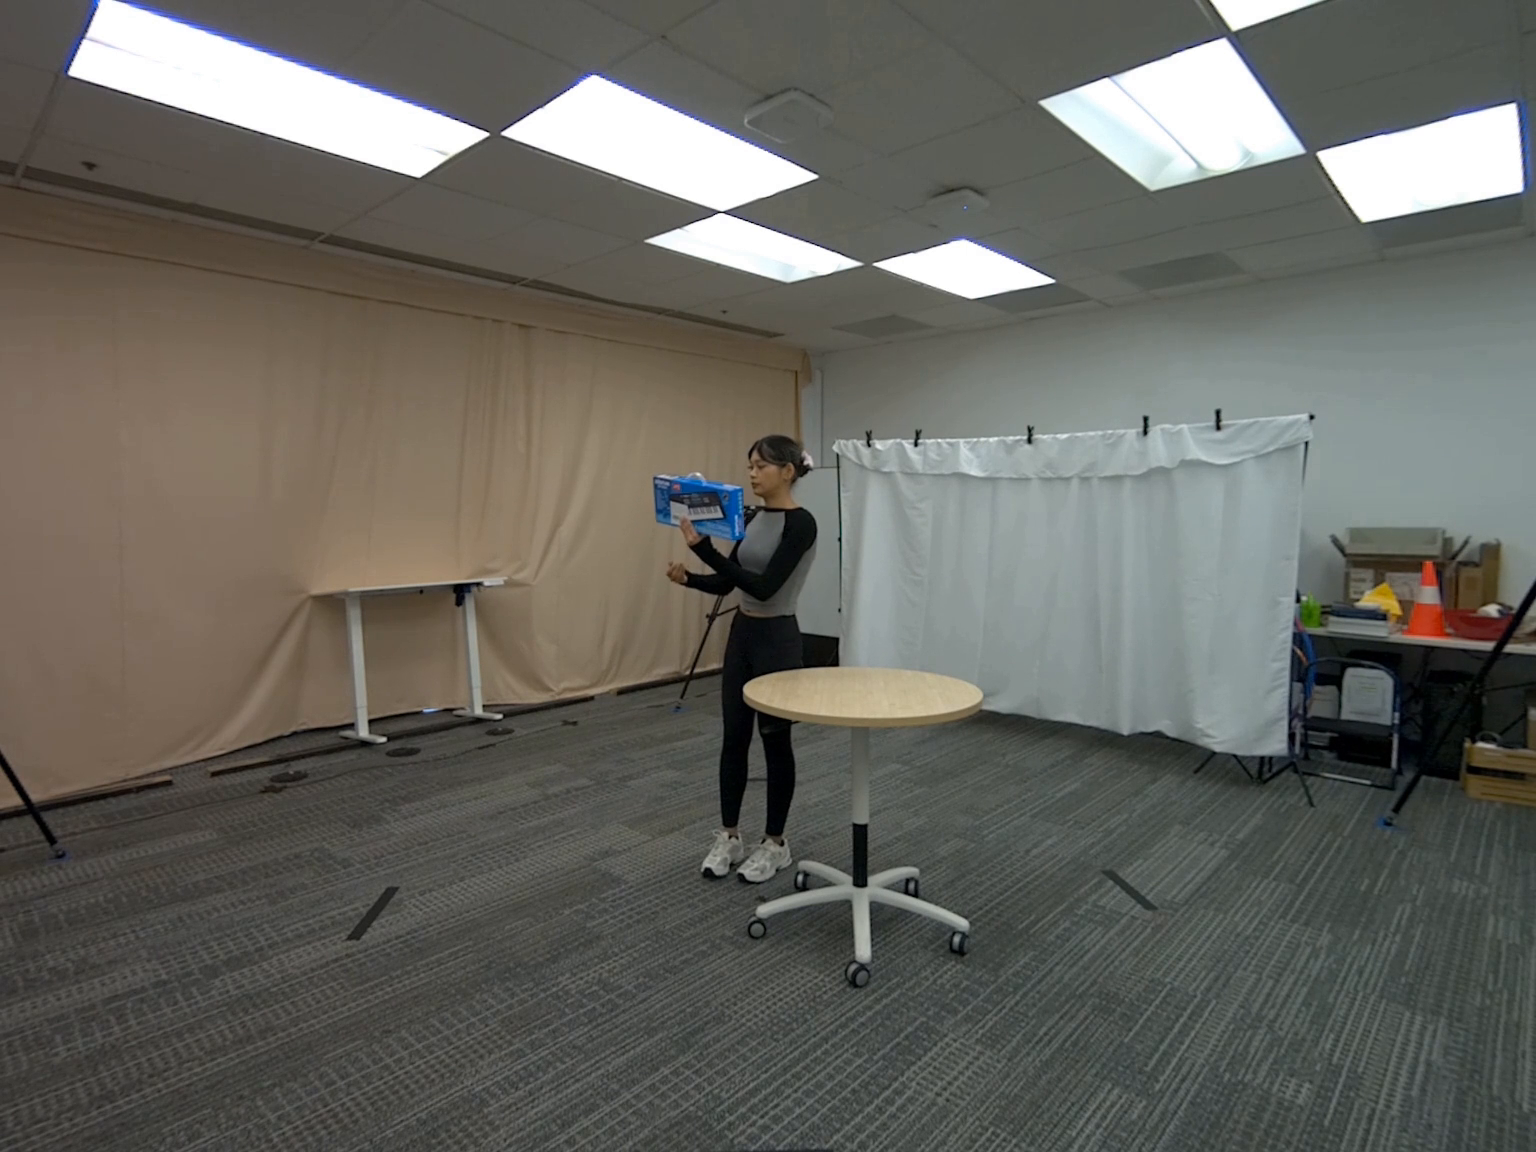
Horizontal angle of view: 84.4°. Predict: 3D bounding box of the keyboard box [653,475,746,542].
[{"bbox_3d":[-0.247,-0.243,2.950,0.057,0.174,0.453,-15,20,-39],"label":"keyboard box"}]
